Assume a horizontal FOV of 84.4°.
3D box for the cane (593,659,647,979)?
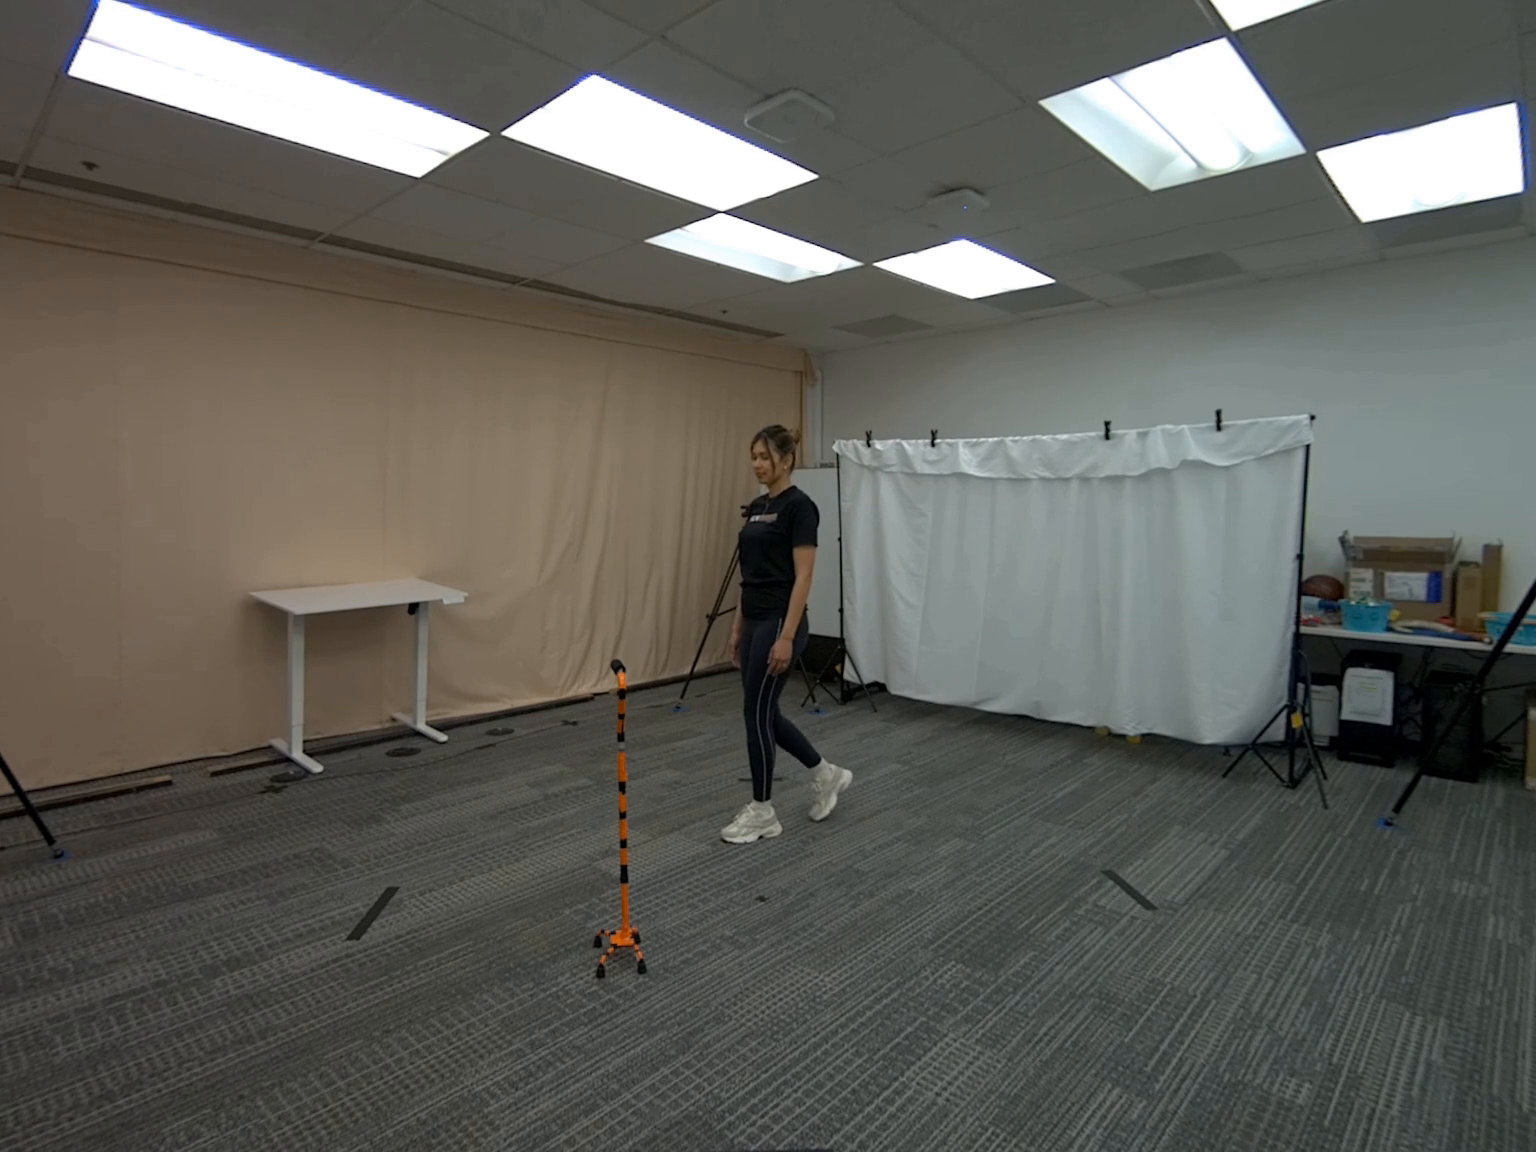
[{"bbox_3d":[-0.461,0.725,2.570,0.149,0.906,0.210,-1,3,-15],"label":"cane"}]
